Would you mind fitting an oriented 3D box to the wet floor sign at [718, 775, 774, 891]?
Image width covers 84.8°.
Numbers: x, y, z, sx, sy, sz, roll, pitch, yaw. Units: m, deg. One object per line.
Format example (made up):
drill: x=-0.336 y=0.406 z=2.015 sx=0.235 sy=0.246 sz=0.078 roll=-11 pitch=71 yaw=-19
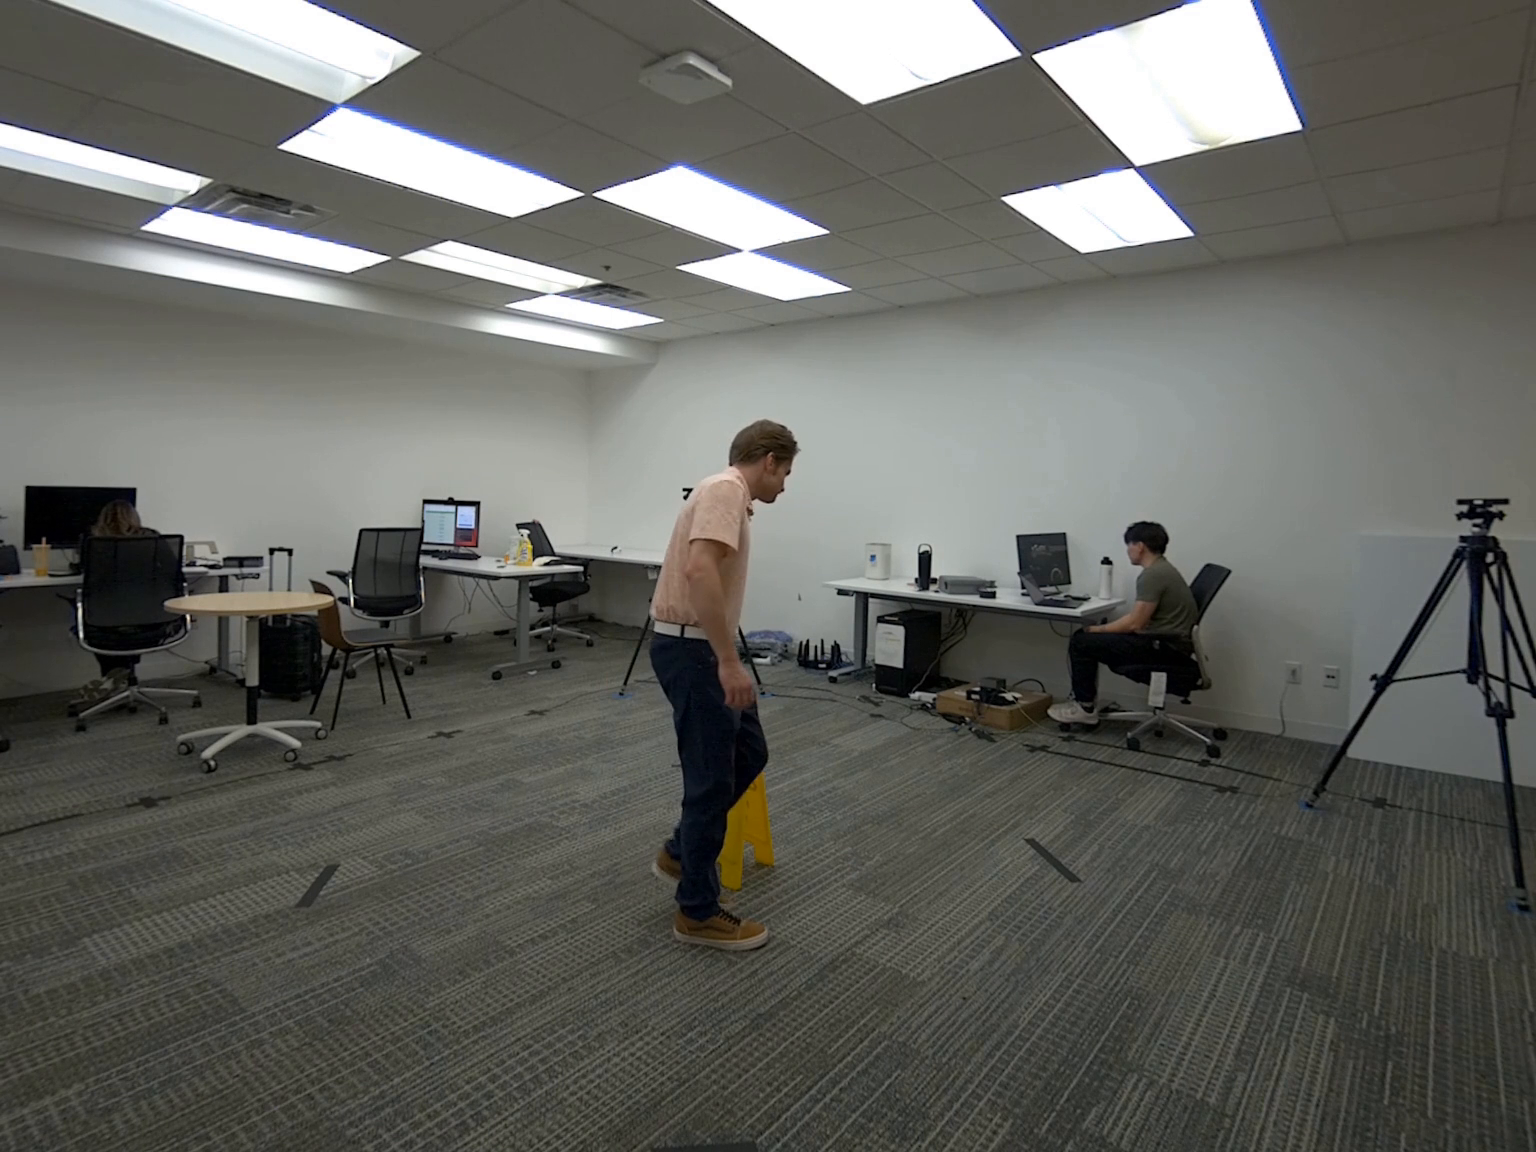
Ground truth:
wet floor sign: x=-0.166 y=0.743 z=3.102 sx=0.291 sy=0.644 sz=0.282 roll=3 pitch=4 yaw=32
